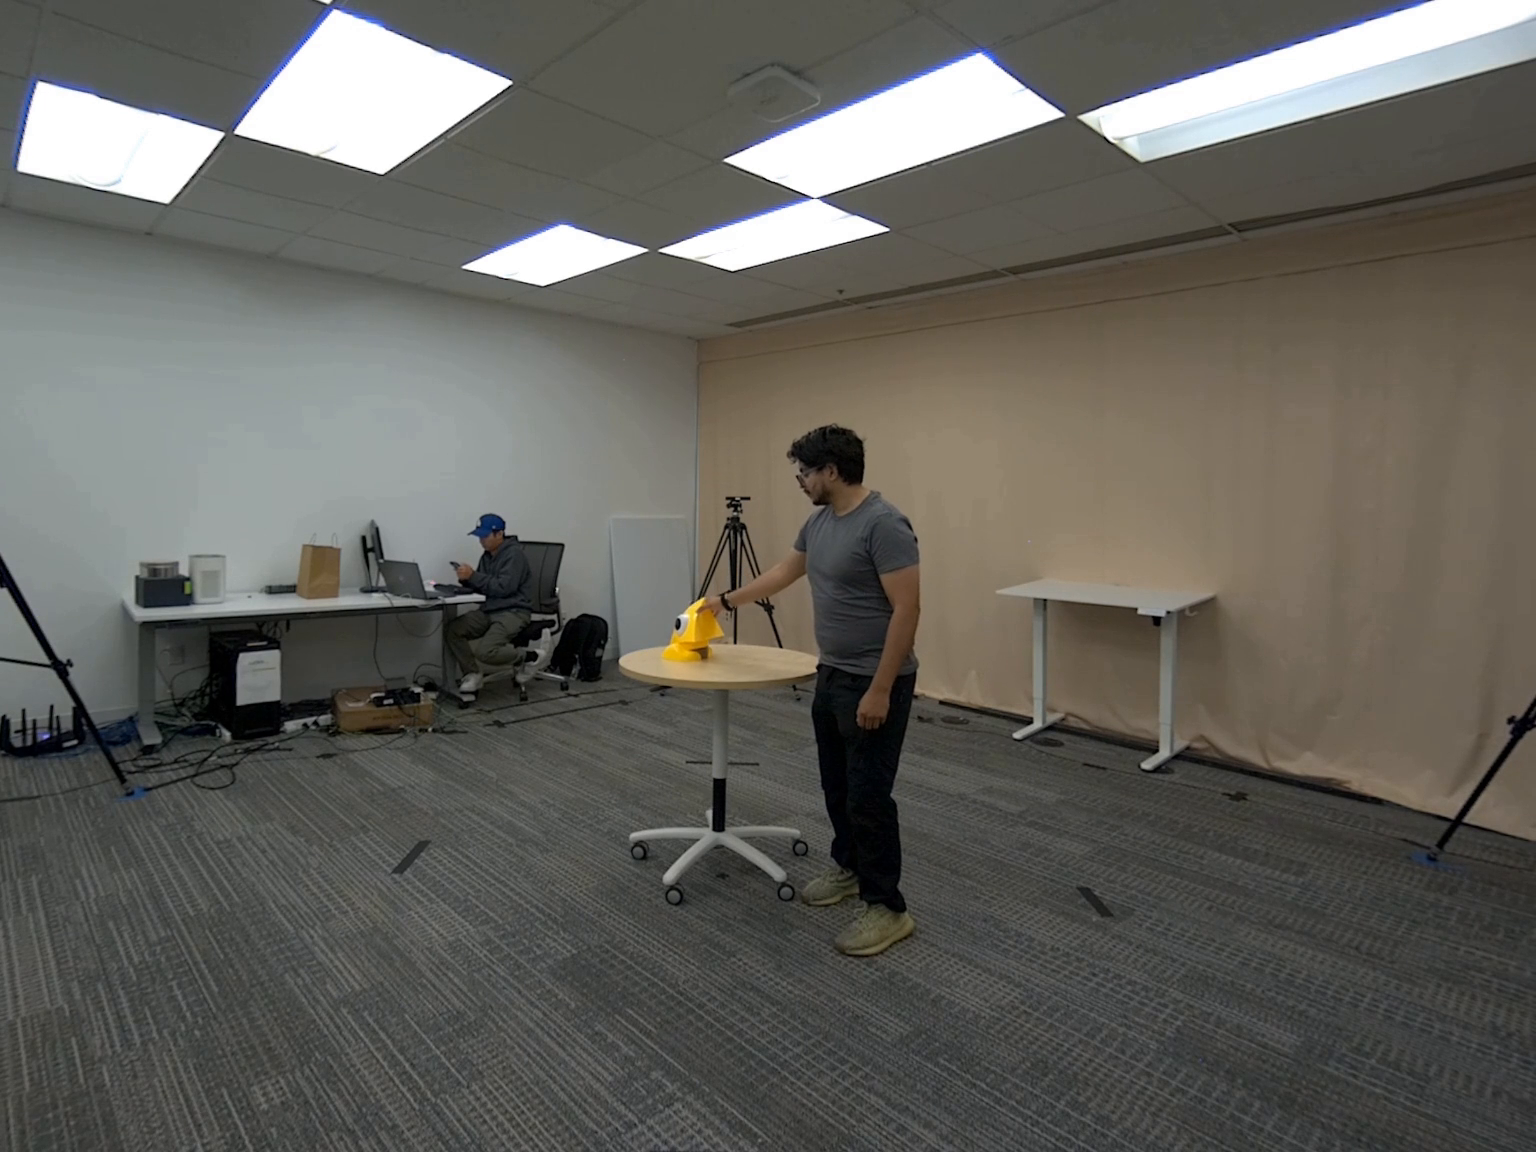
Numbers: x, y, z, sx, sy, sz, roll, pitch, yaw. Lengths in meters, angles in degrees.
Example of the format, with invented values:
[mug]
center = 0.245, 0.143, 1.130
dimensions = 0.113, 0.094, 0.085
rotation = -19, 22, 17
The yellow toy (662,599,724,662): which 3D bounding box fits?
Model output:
[yellow toy]
center = -0.300, 0.196, 3.213
dimensions = 0.197, 0.230, 0.201
rotation = 4, 4, 31
